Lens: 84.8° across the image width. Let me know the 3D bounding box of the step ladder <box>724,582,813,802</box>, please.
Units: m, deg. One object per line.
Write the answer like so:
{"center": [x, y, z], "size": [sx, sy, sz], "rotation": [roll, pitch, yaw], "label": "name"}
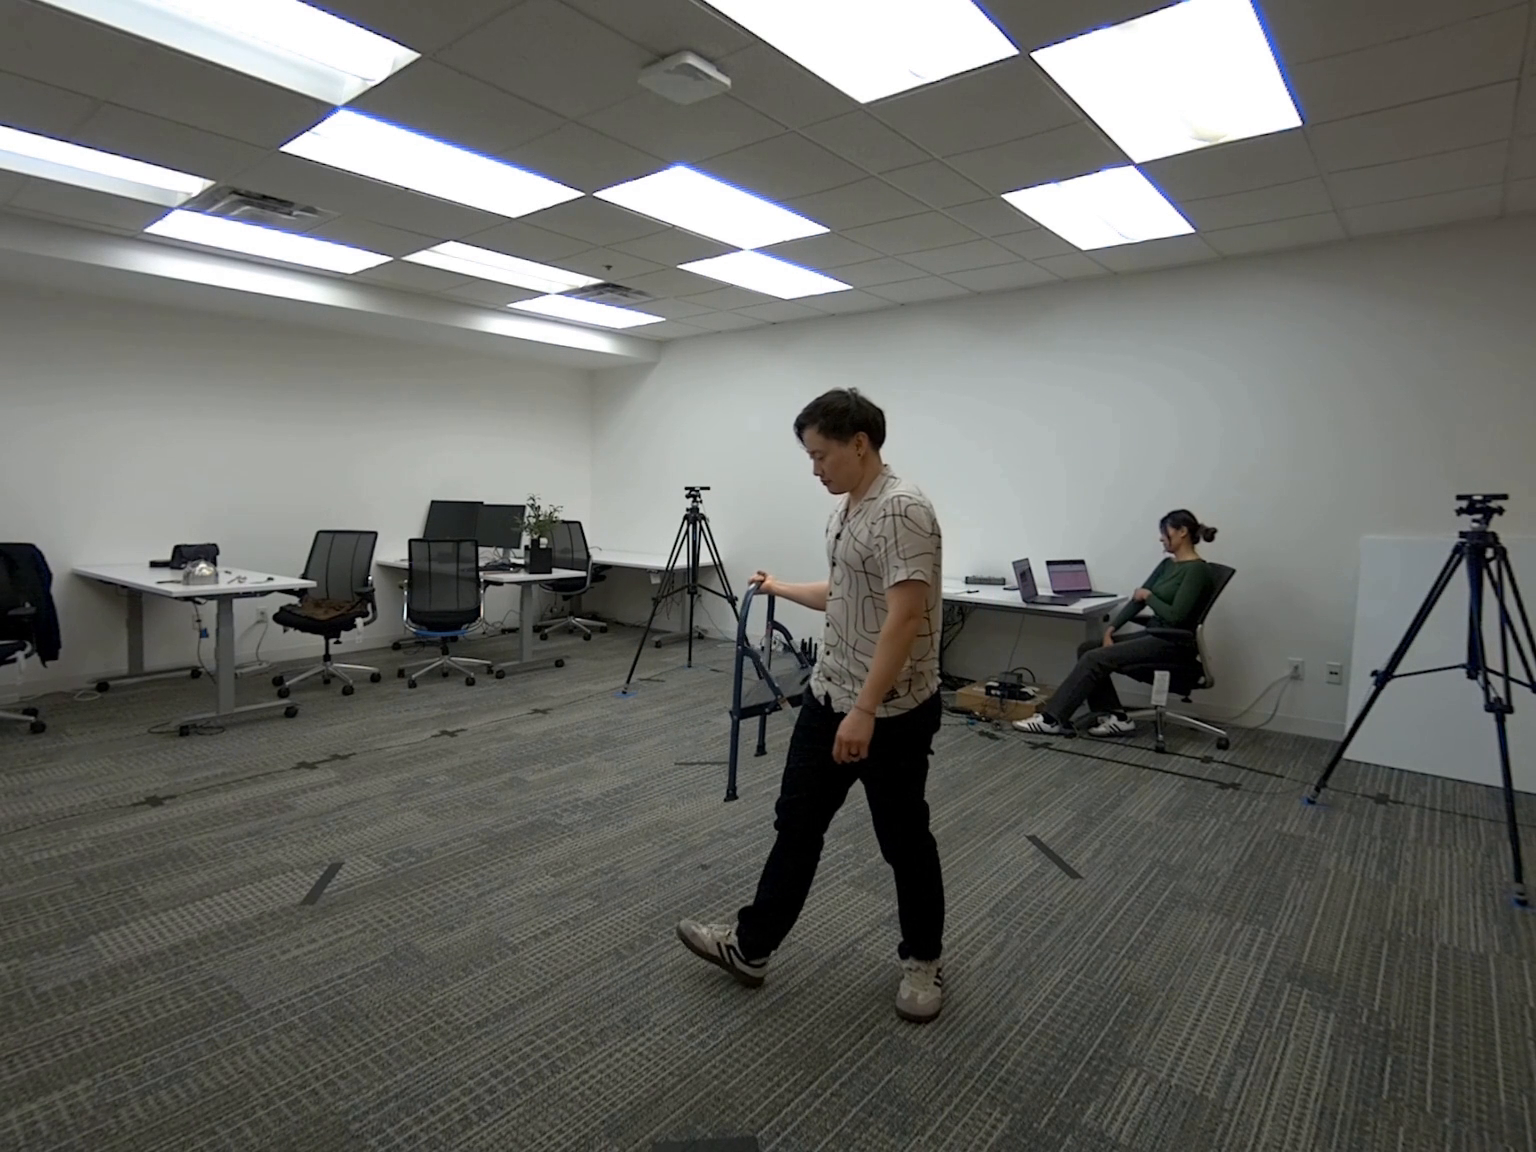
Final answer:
{"center": [-0.026, 0.321, 2.722], "size": [0.353, 0.605, 0.427], "rotation": [-17, 2, 15], "label": "step ladder"}
